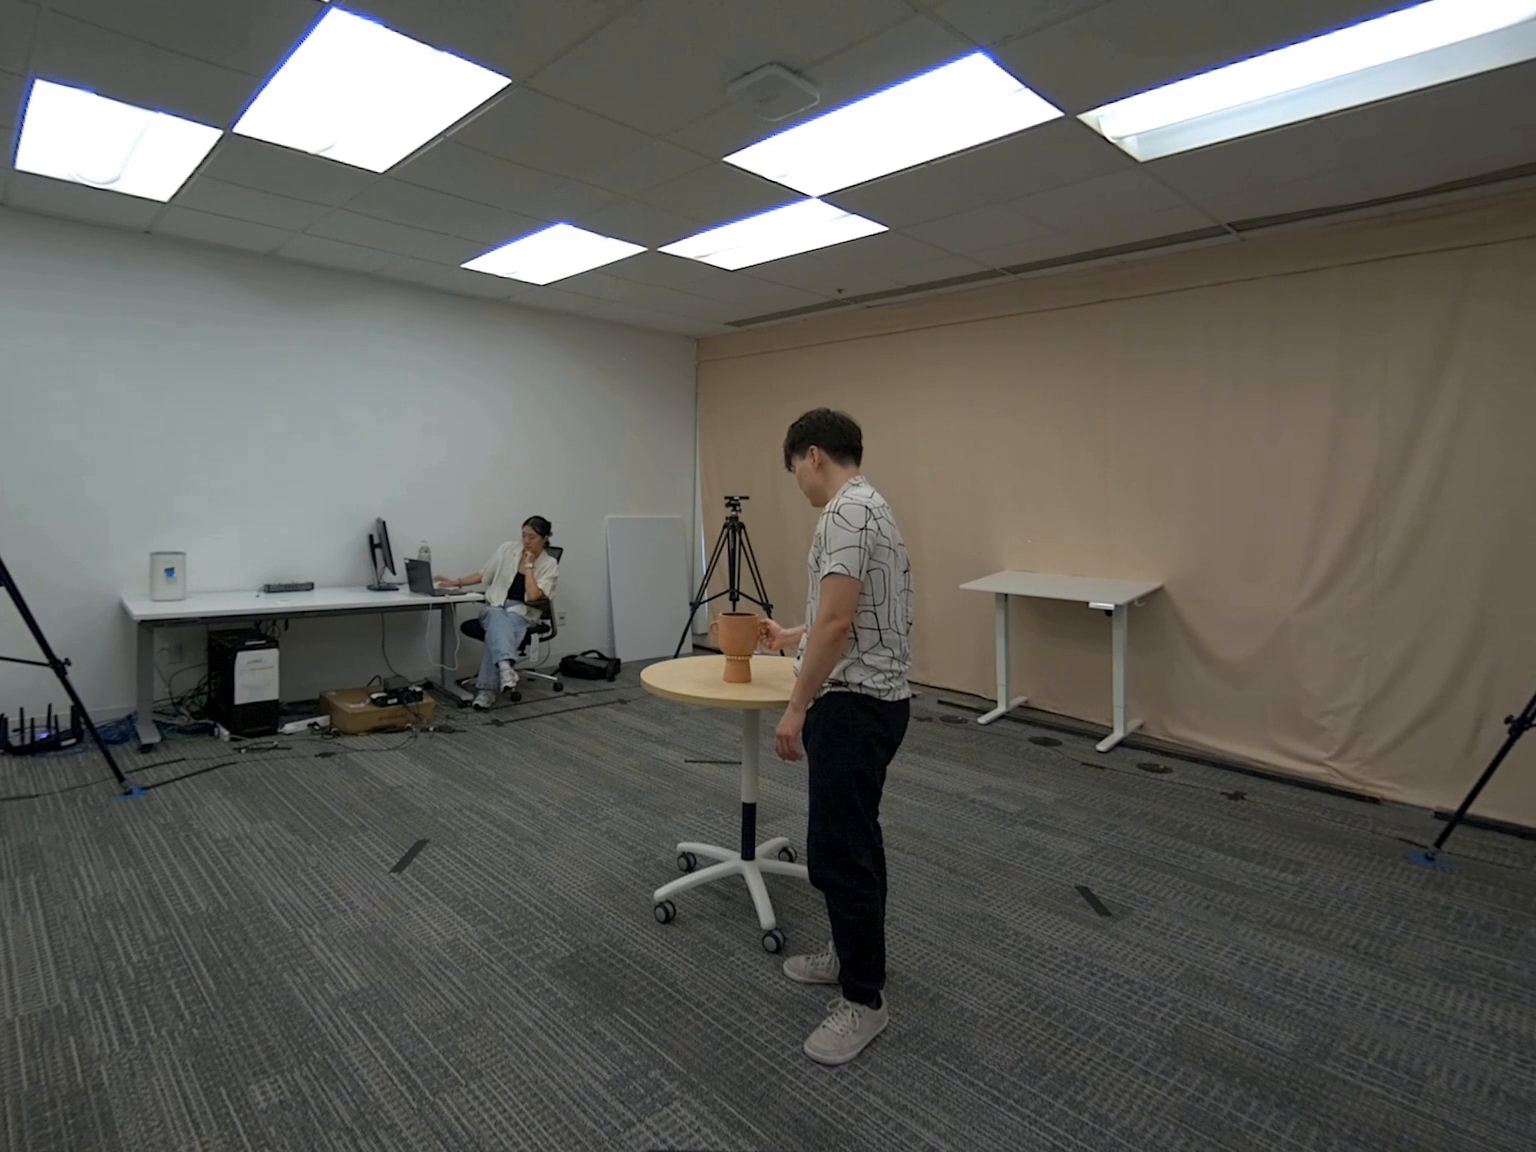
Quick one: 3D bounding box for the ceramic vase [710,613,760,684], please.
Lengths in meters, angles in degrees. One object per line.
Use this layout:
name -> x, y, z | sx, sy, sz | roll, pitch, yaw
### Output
ceramic vase -> -0.107, 0.240, 2.787 | 0.131, 0.219, 0.163 | -2, 6, -42
